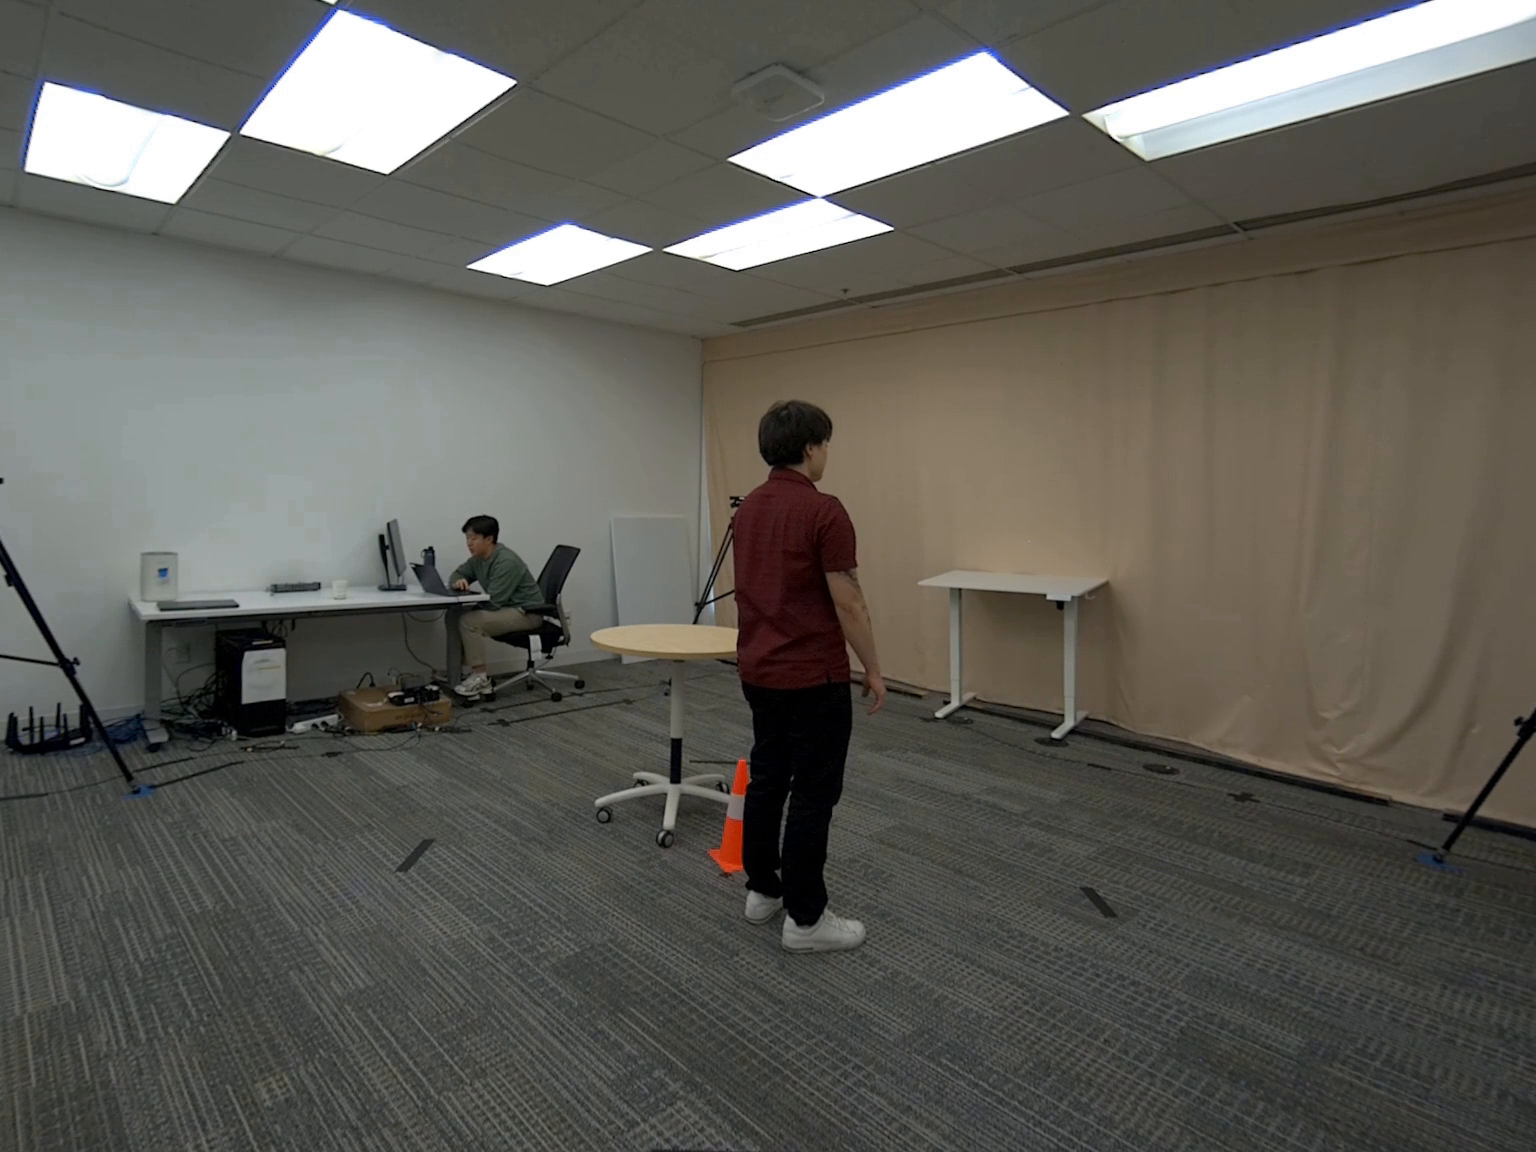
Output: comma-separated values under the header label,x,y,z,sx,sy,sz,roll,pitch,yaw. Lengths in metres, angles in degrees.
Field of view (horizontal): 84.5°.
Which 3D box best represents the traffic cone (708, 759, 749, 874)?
label,x,y,z,sx,sy,sz,roll,pitch,yaw
traffic cone,-0.109,0.912,3.254,0.202,0.383,0.207,1,3,-21
